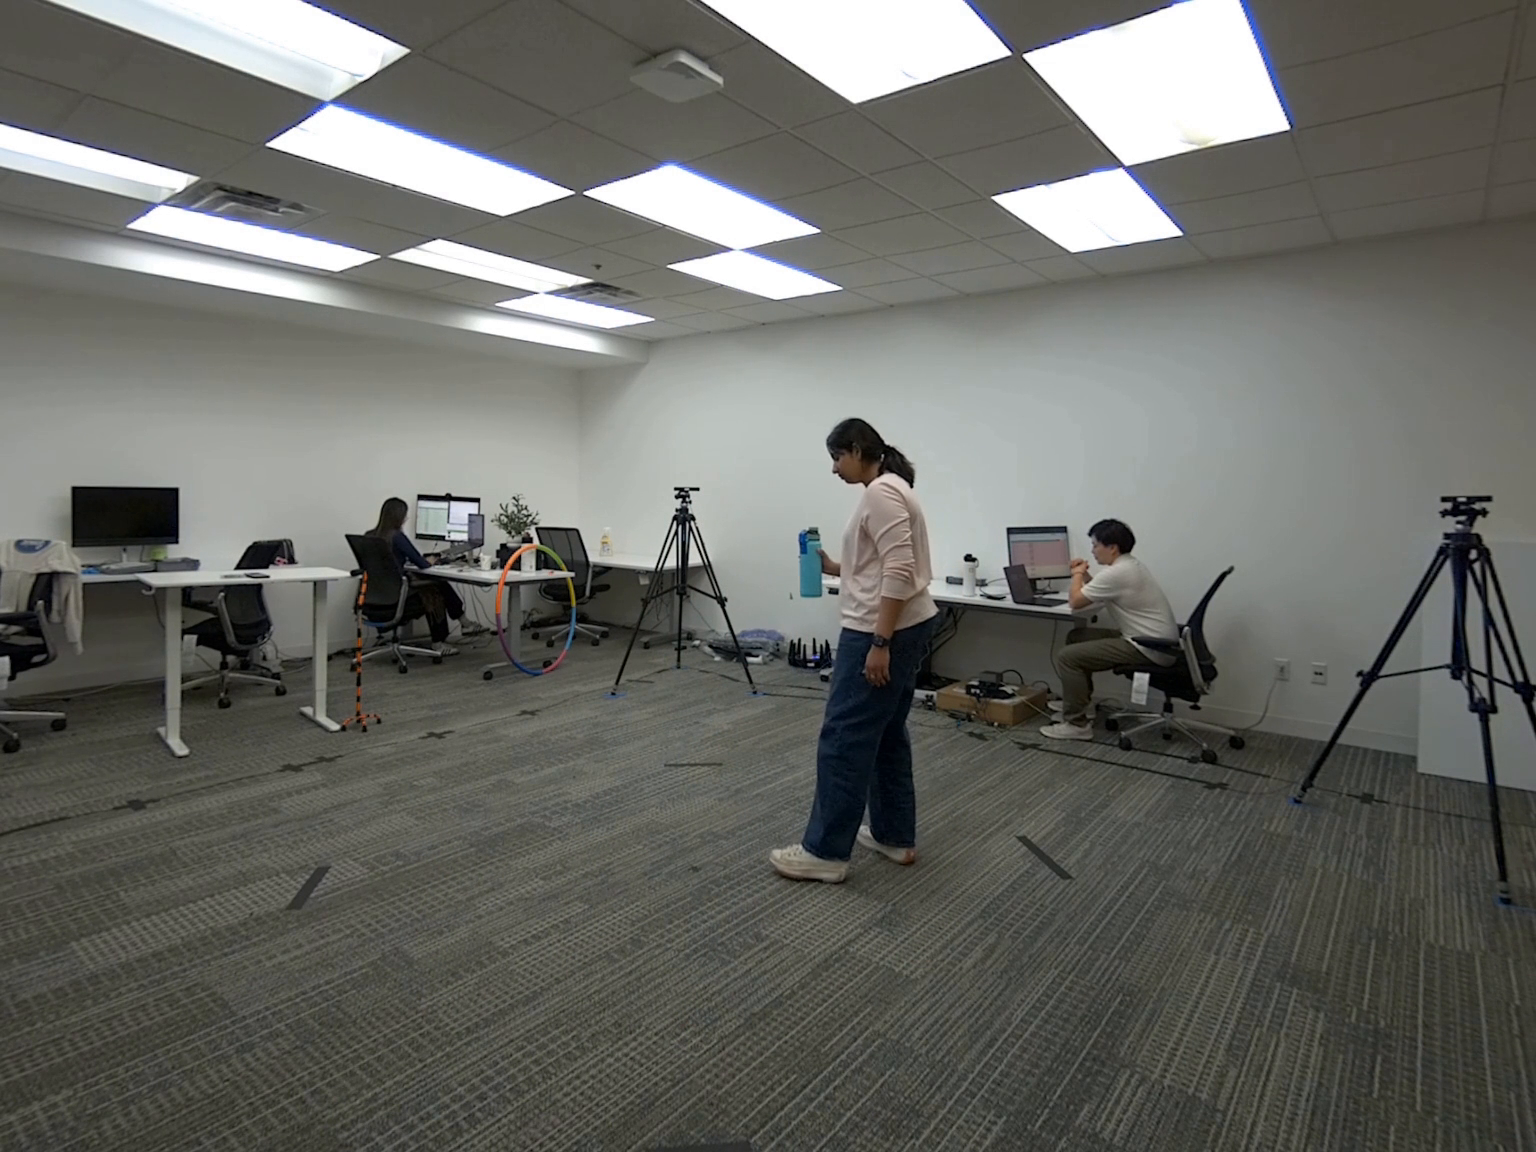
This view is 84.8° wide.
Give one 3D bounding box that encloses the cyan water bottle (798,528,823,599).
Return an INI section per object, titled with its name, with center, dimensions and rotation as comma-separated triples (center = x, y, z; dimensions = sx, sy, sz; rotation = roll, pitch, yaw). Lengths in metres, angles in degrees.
[cyan water bottle]
center = 0.170, -0.062, 3.459
dimensions = 0.092, 0.282, 0.093
rotation = -1, 4, -2
